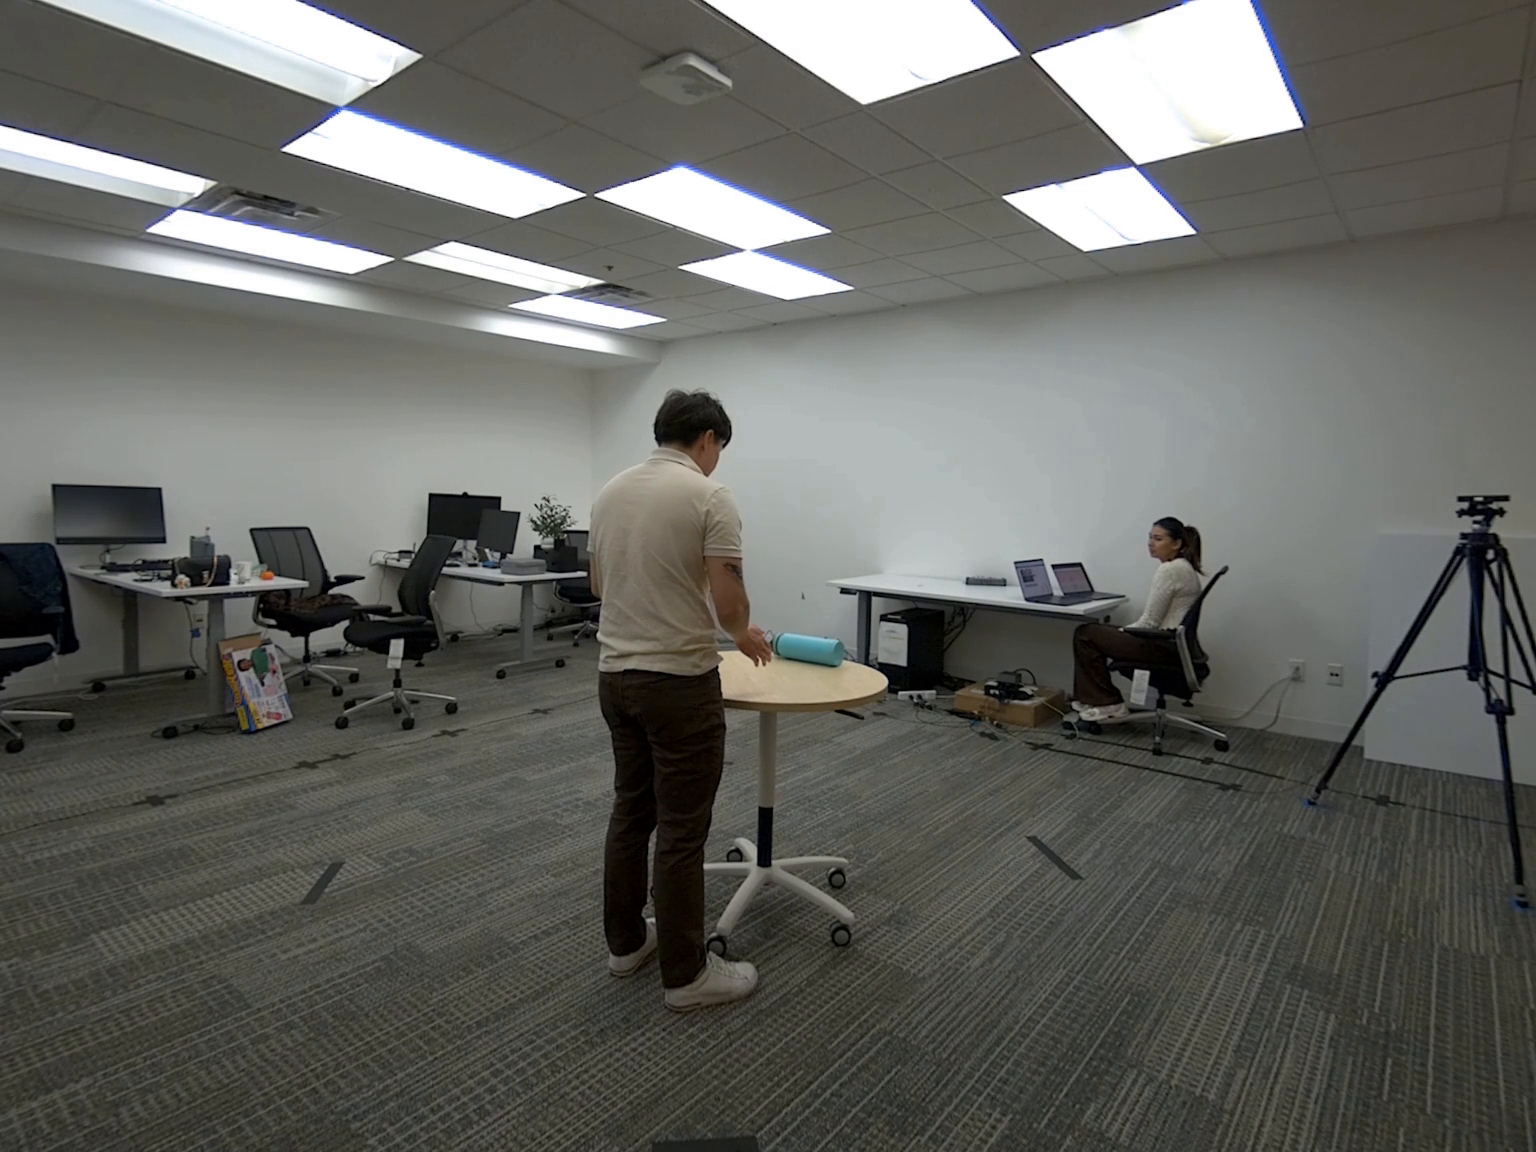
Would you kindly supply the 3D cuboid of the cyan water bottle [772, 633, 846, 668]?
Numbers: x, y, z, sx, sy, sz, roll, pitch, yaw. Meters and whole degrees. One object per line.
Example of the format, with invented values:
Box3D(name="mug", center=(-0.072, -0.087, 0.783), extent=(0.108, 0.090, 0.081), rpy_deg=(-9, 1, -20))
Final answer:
Box3D(name="cyan water bottle", center=(0.120, 0.253, 3.016), extent=(0.293, 0.092, 0.090), rpy_deg=(5, 6, 36))
